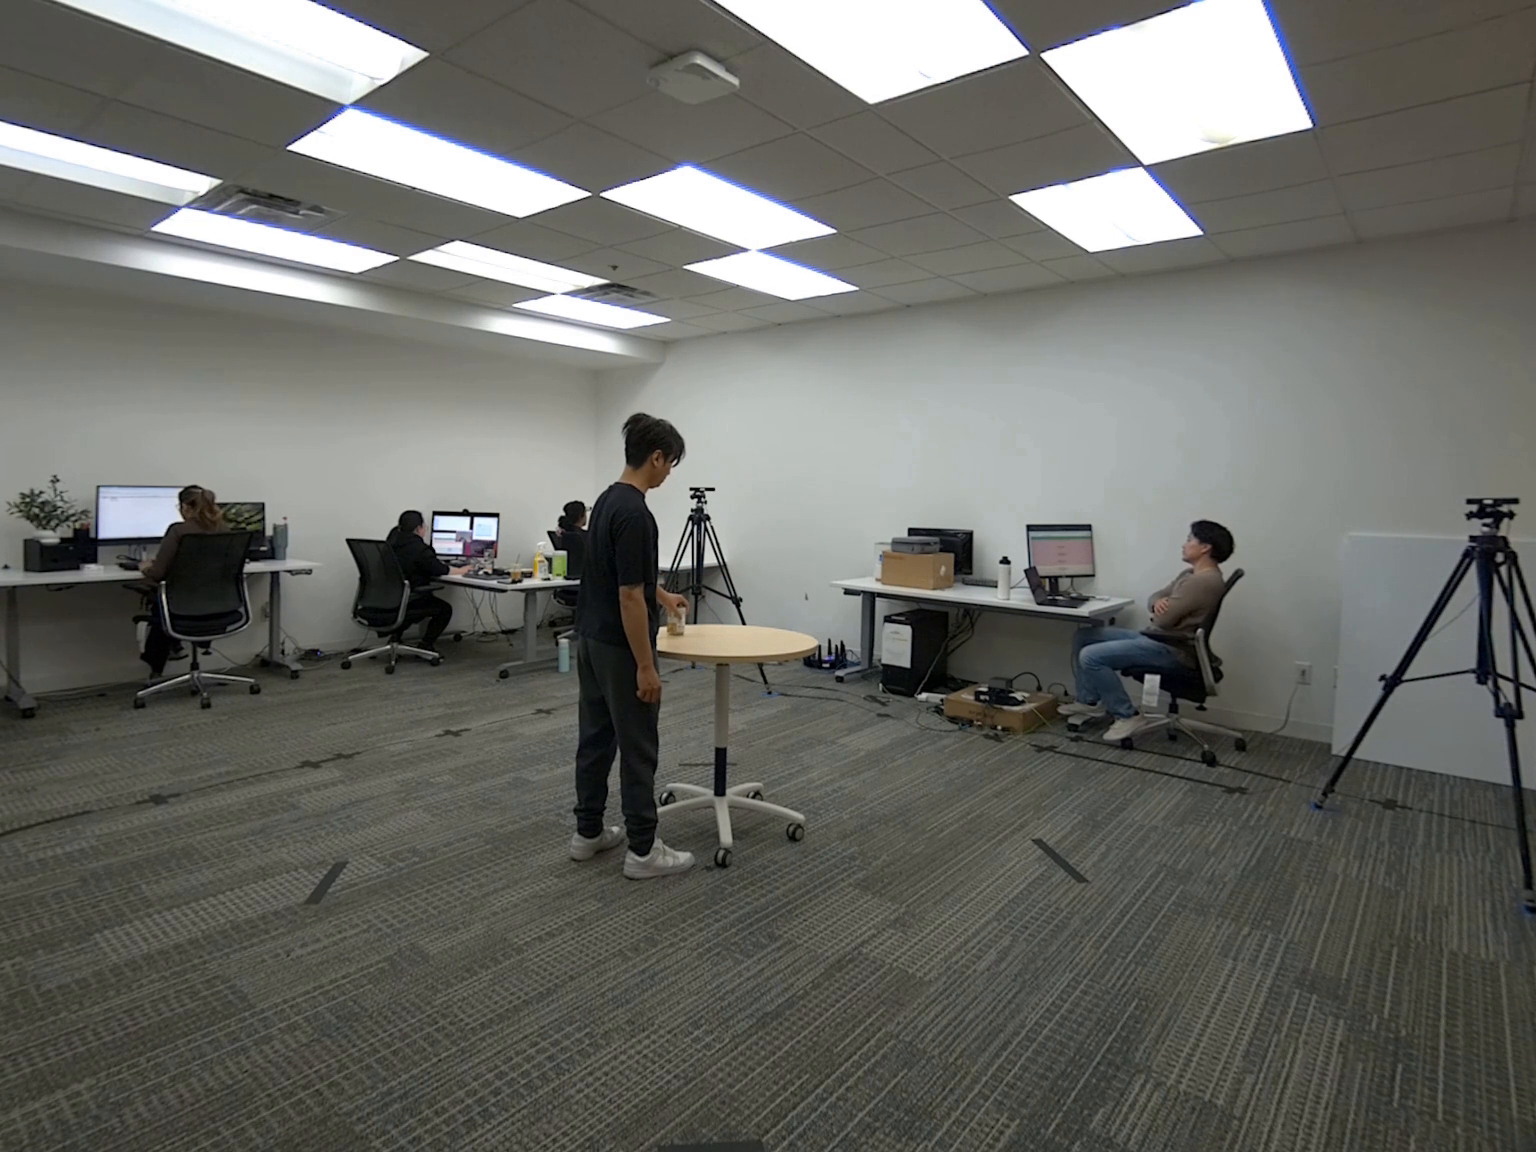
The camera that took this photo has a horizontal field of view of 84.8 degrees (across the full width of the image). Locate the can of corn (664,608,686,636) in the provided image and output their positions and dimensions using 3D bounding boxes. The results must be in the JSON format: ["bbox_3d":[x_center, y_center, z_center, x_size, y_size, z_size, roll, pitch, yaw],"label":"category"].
[{"bbox_3d":[-0.385,0.179,3.537,0.074,0.110,0.074,-1,5,-2],"label":"can of corn"}]
